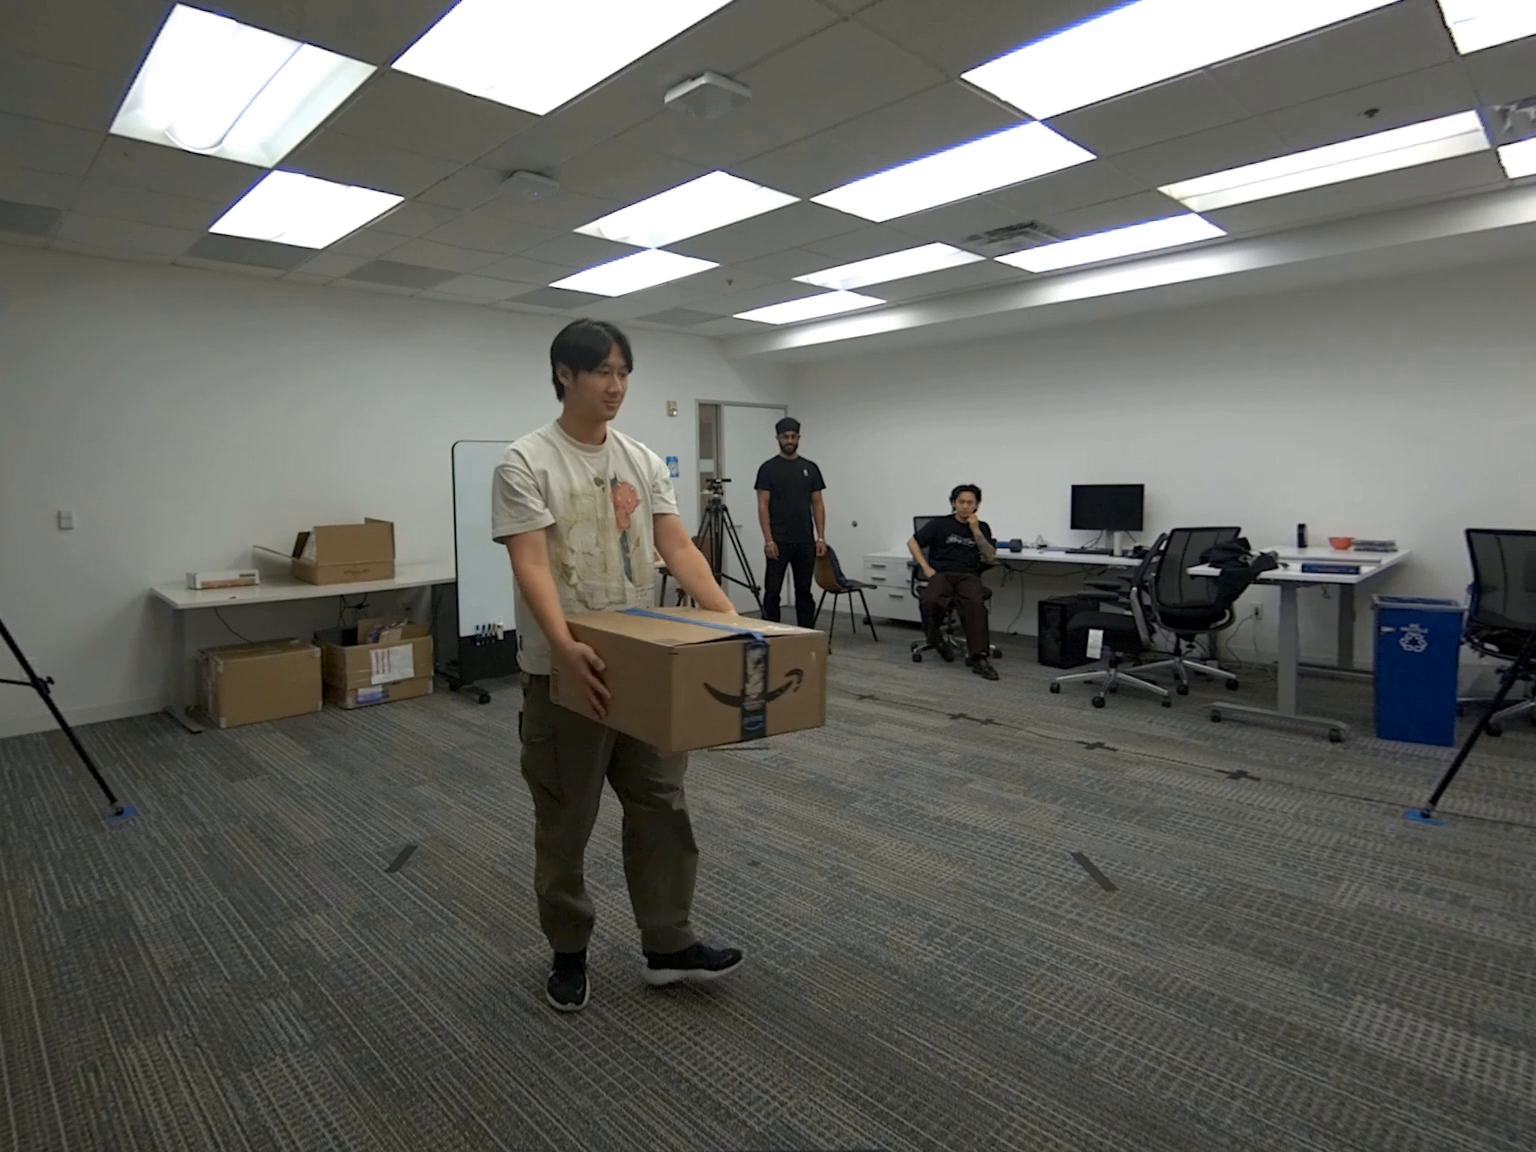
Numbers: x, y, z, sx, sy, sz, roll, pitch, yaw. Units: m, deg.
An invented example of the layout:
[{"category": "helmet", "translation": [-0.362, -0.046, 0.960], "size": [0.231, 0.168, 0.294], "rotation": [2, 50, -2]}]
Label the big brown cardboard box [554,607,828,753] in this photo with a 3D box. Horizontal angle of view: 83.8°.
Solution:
[{"category": "big brown cardboard box", "translation": [-0.196, 0.219, 2.023], "size": [0.406, 0.233, 0.606], "rotation": [-3, 4, -38]}]
